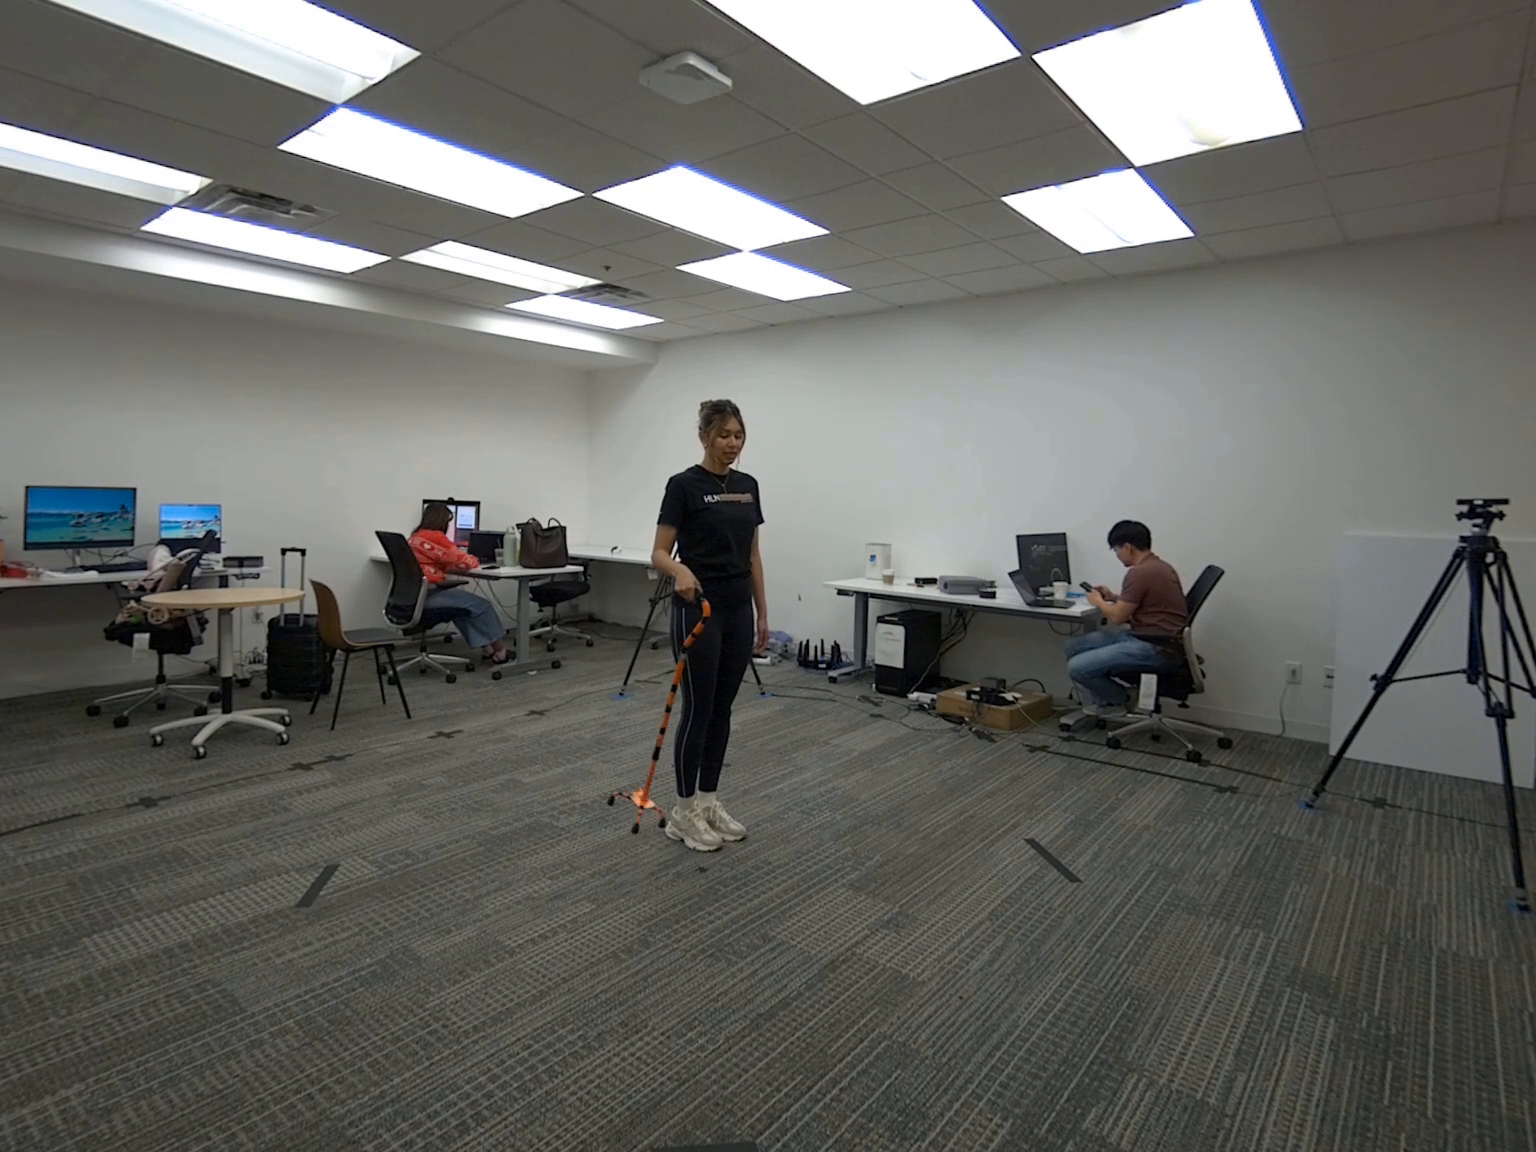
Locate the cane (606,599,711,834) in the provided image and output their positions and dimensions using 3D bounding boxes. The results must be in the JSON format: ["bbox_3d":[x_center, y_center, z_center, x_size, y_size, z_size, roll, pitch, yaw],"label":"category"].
[{"bbox_3d":[-0.379,0.482,3.086,0.147,0.899,0.215,0,22,-47],"label":"cane"}]
